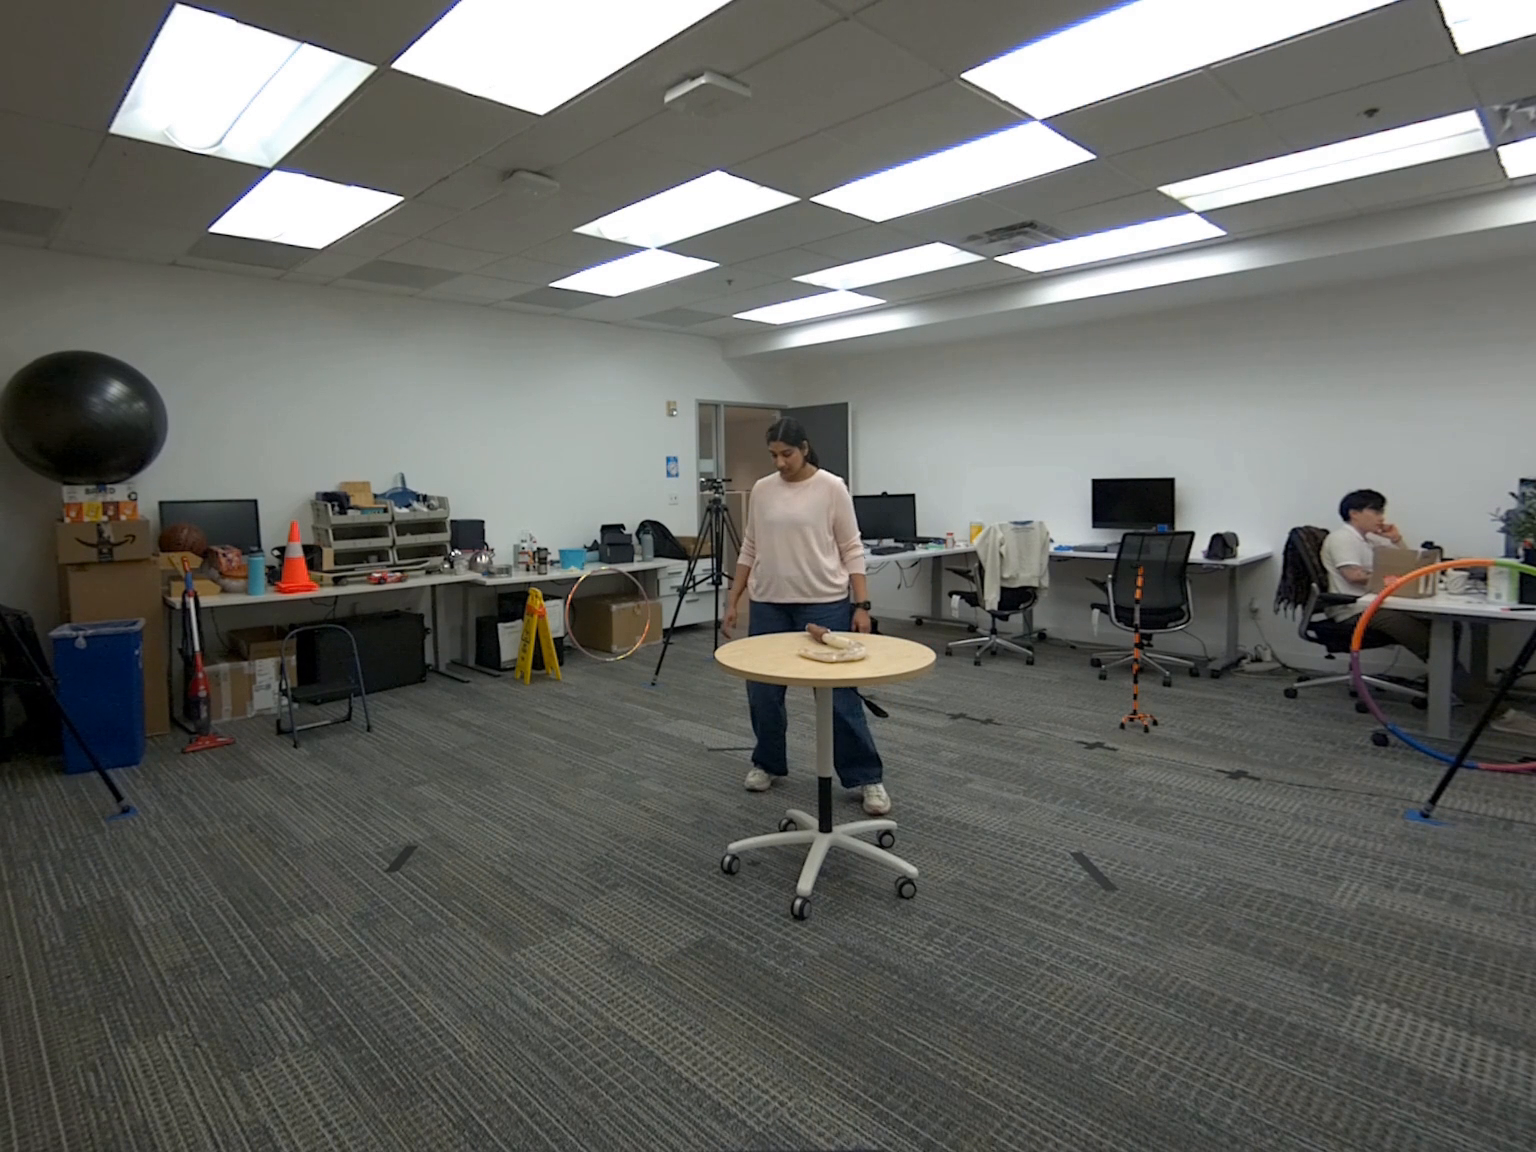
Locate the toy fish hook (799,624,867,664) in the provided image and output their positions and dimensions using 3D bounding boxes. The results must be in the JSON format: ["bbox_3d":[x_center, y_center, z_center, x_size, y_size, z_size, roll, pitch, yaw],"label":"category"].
[{"bbox_3d":[0.187,0.244,3.066,0.222,0.048,0.515,-1,7,-14],"label":"toy fish hook"}]
